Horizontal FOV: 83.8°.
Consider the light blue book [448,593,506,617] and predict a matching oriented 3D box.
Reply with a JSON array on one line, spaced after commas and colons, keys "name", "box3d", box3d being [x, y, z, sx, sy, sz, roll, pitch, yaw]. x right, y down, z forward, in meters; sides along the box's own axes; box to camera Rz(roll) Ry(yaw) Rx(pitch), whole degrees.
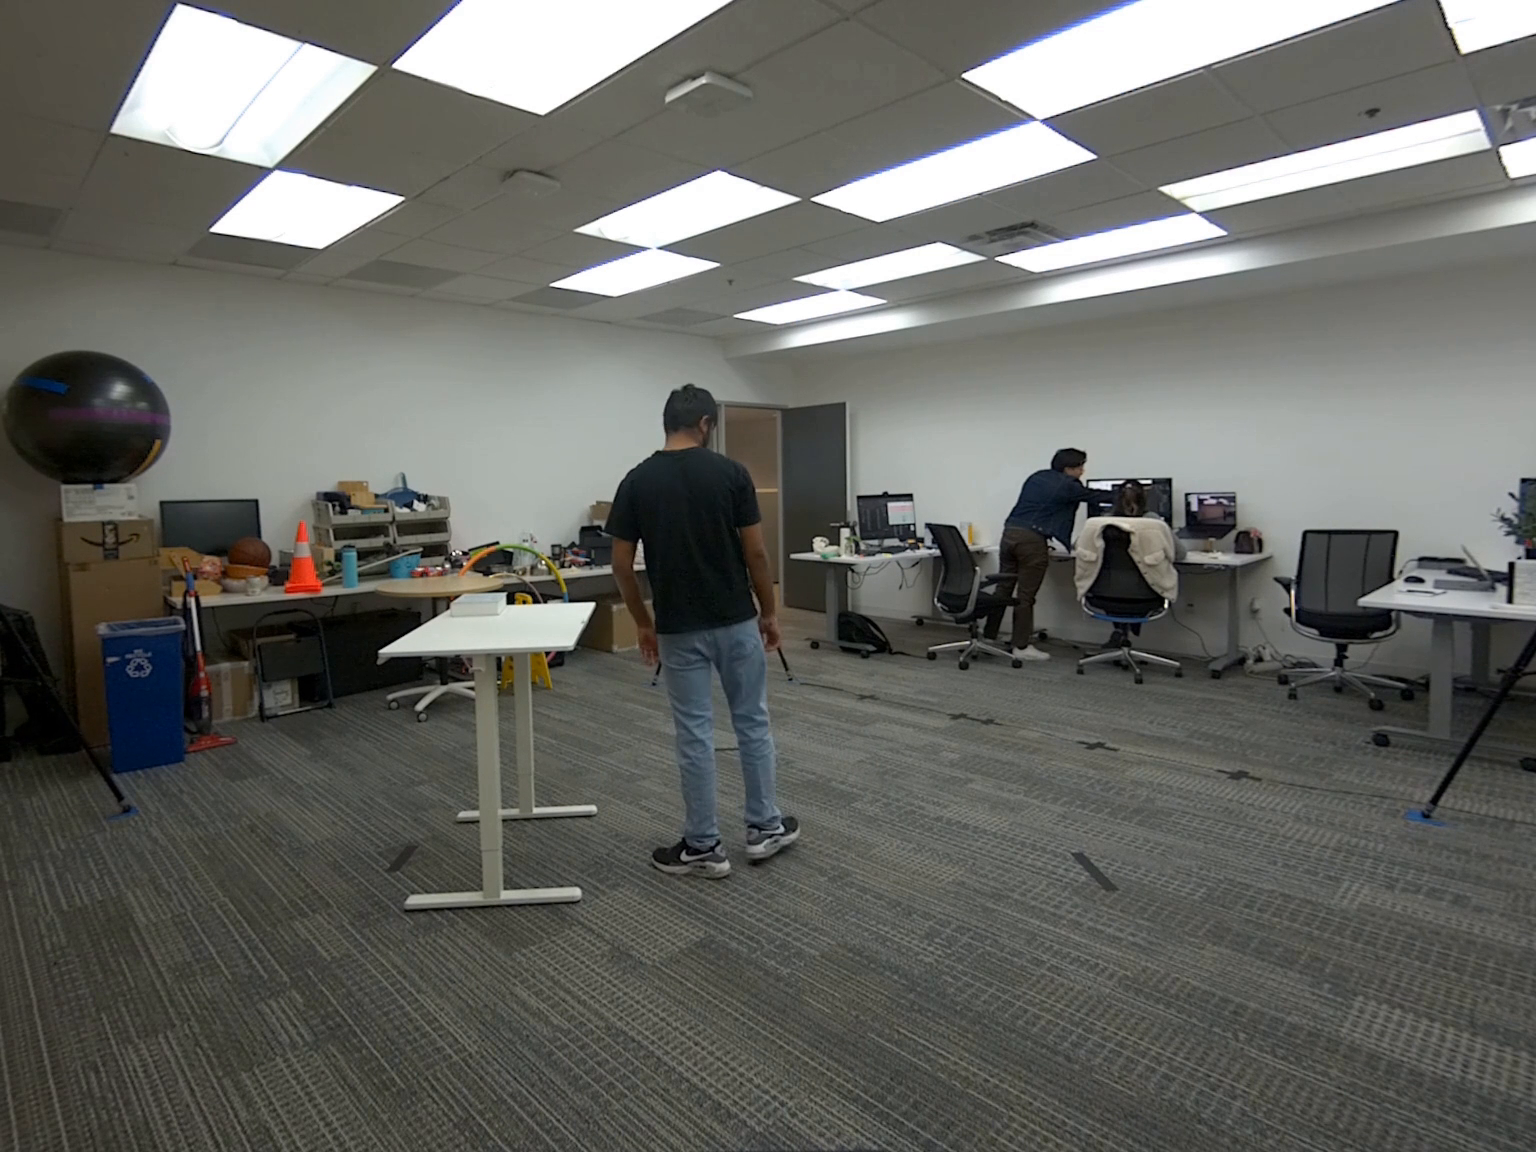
[{"name": "light blue book", "box3d": [-1.169, 0.113, 3.489, 0.190, 0.059, 0.264, -3, 7, -10]}]
